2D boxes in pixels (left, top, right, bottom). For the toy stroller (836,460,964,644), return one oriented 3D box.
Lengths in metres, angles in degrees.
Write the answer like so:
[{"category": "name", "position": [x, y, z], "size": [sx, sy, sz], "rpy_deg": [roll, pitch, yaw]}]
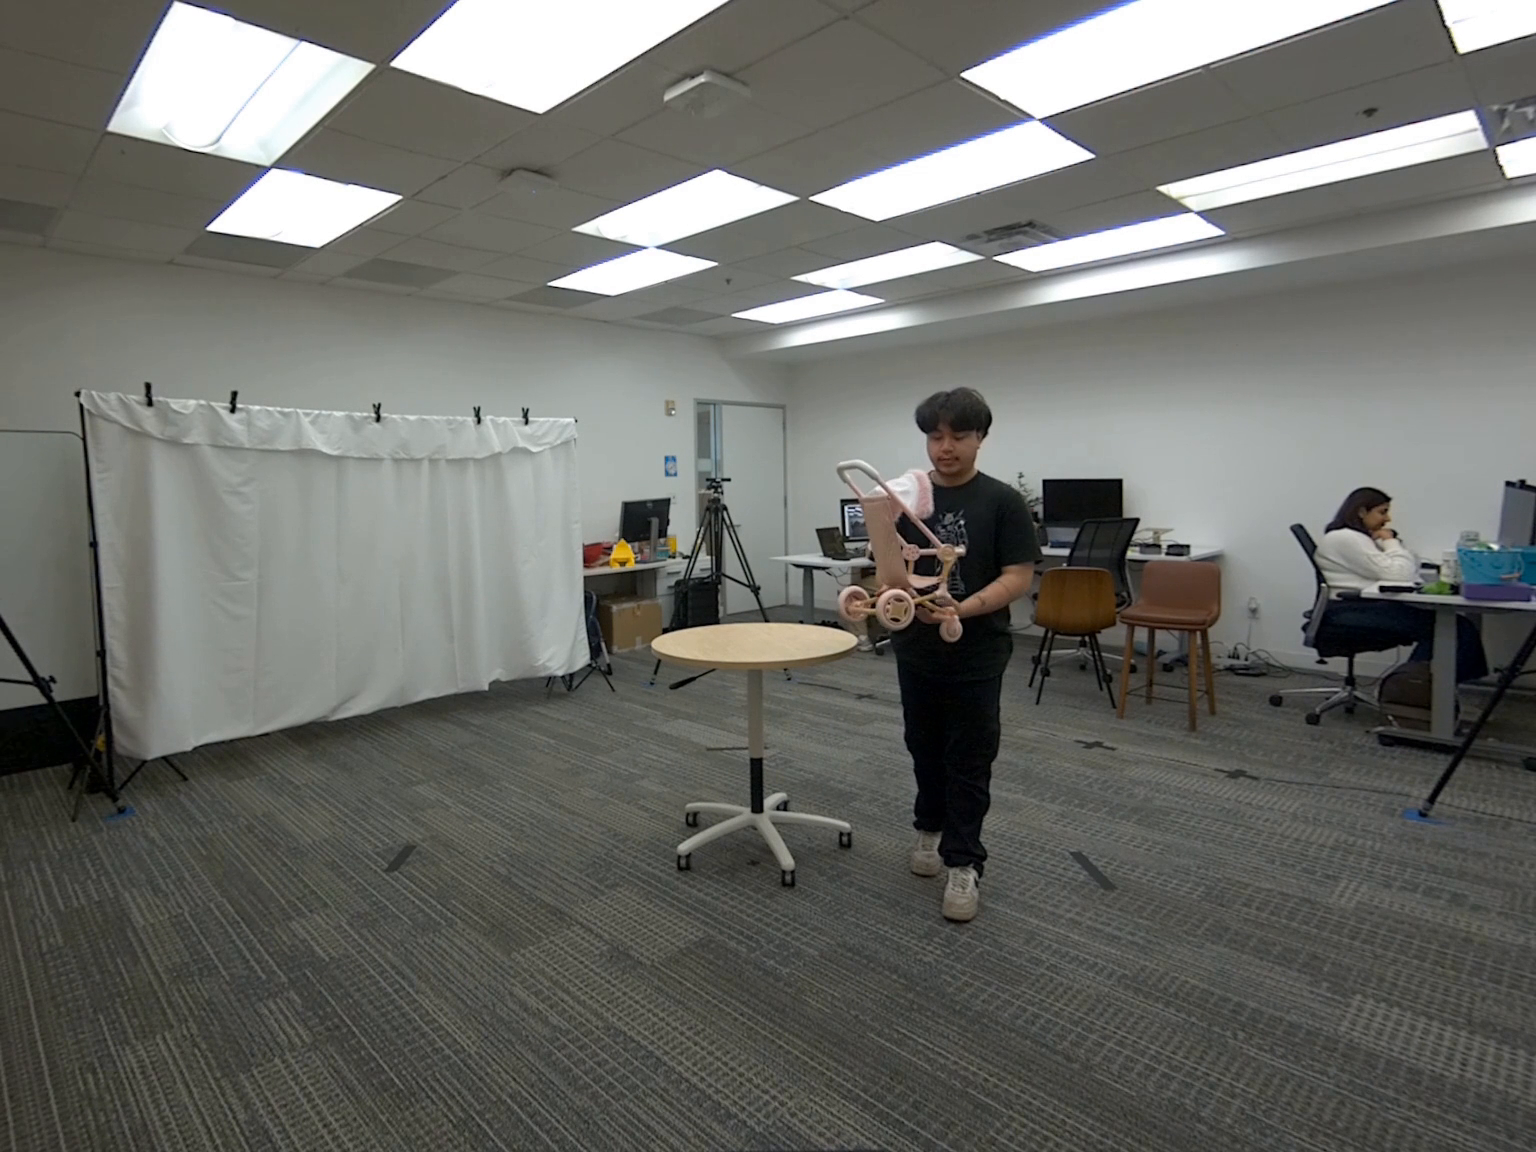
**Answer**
[{"category": "toy stroller", "position": [0.404, -0.066, 2.437], "size": [0.337, 0.535, 0.285], "rpy_deg": [-3, 0, -14]}]
